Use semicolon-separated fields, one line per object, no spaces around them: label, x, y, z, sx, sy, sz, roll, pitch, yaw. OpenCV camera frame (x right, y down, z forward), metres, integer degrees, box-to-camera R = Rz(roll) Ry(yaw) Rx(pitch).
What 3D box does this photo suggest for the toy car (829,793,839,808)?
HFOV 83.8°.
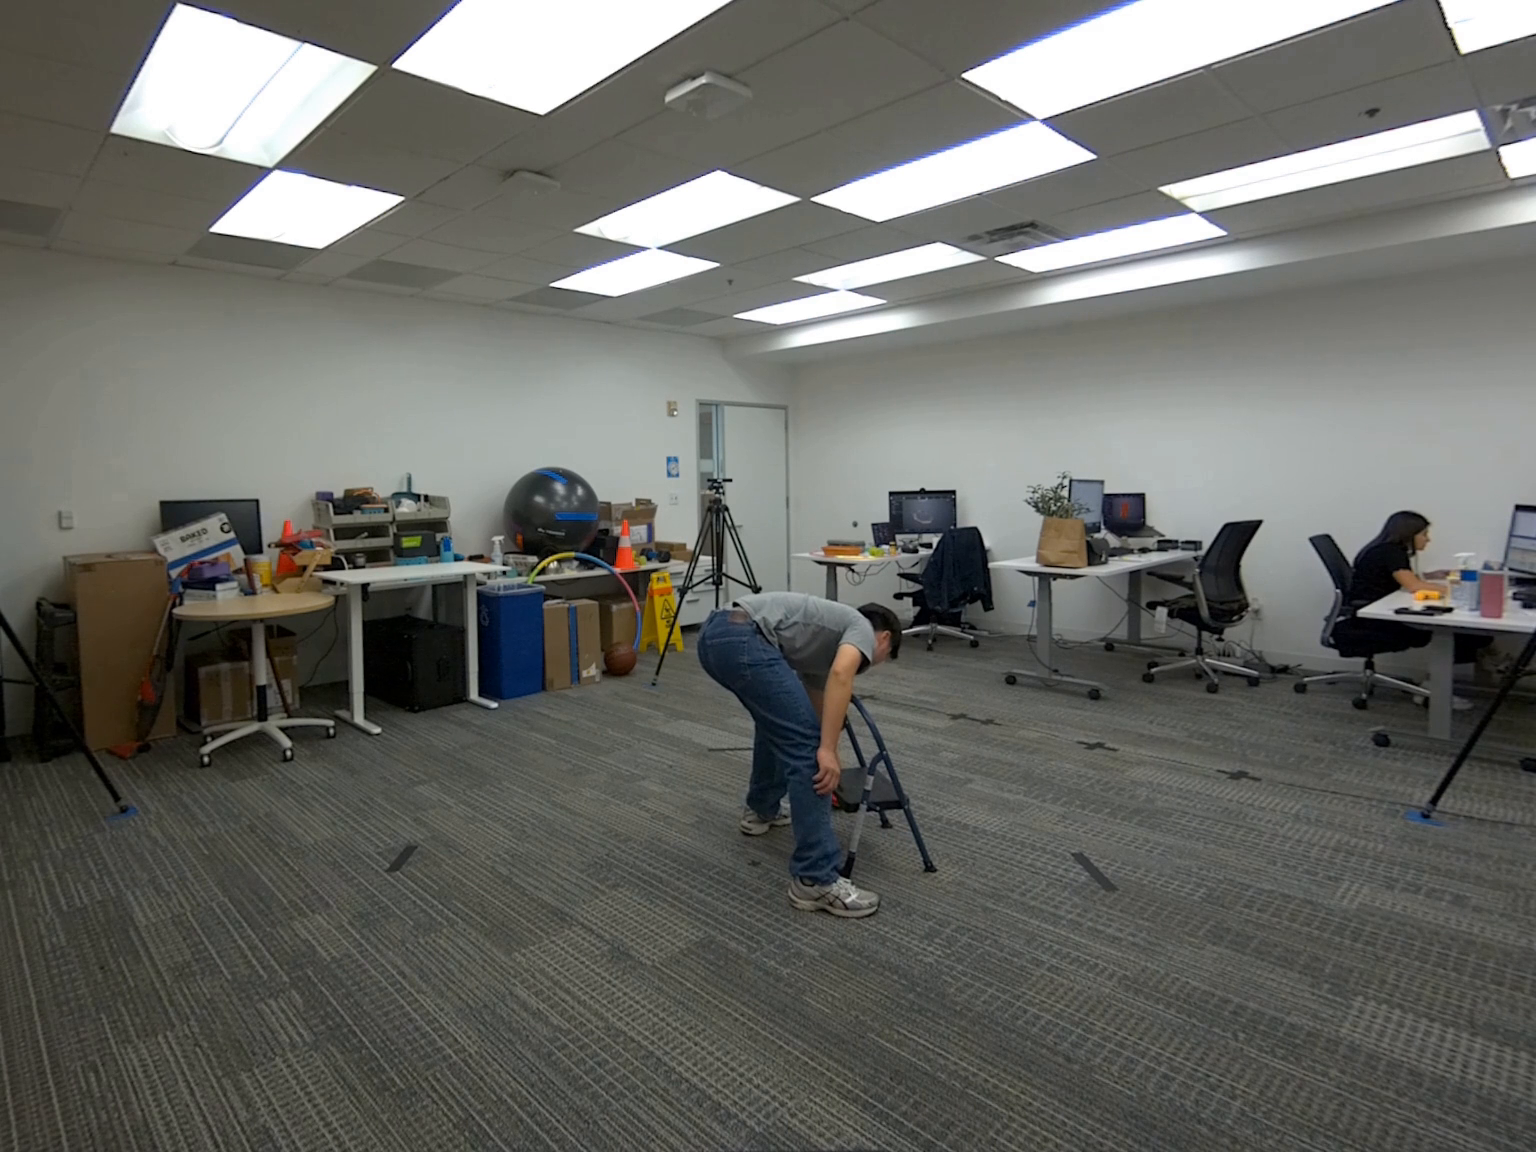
toy car;0.333;0.943;3.668;0.134;0.083;0.246;8;-2;35
